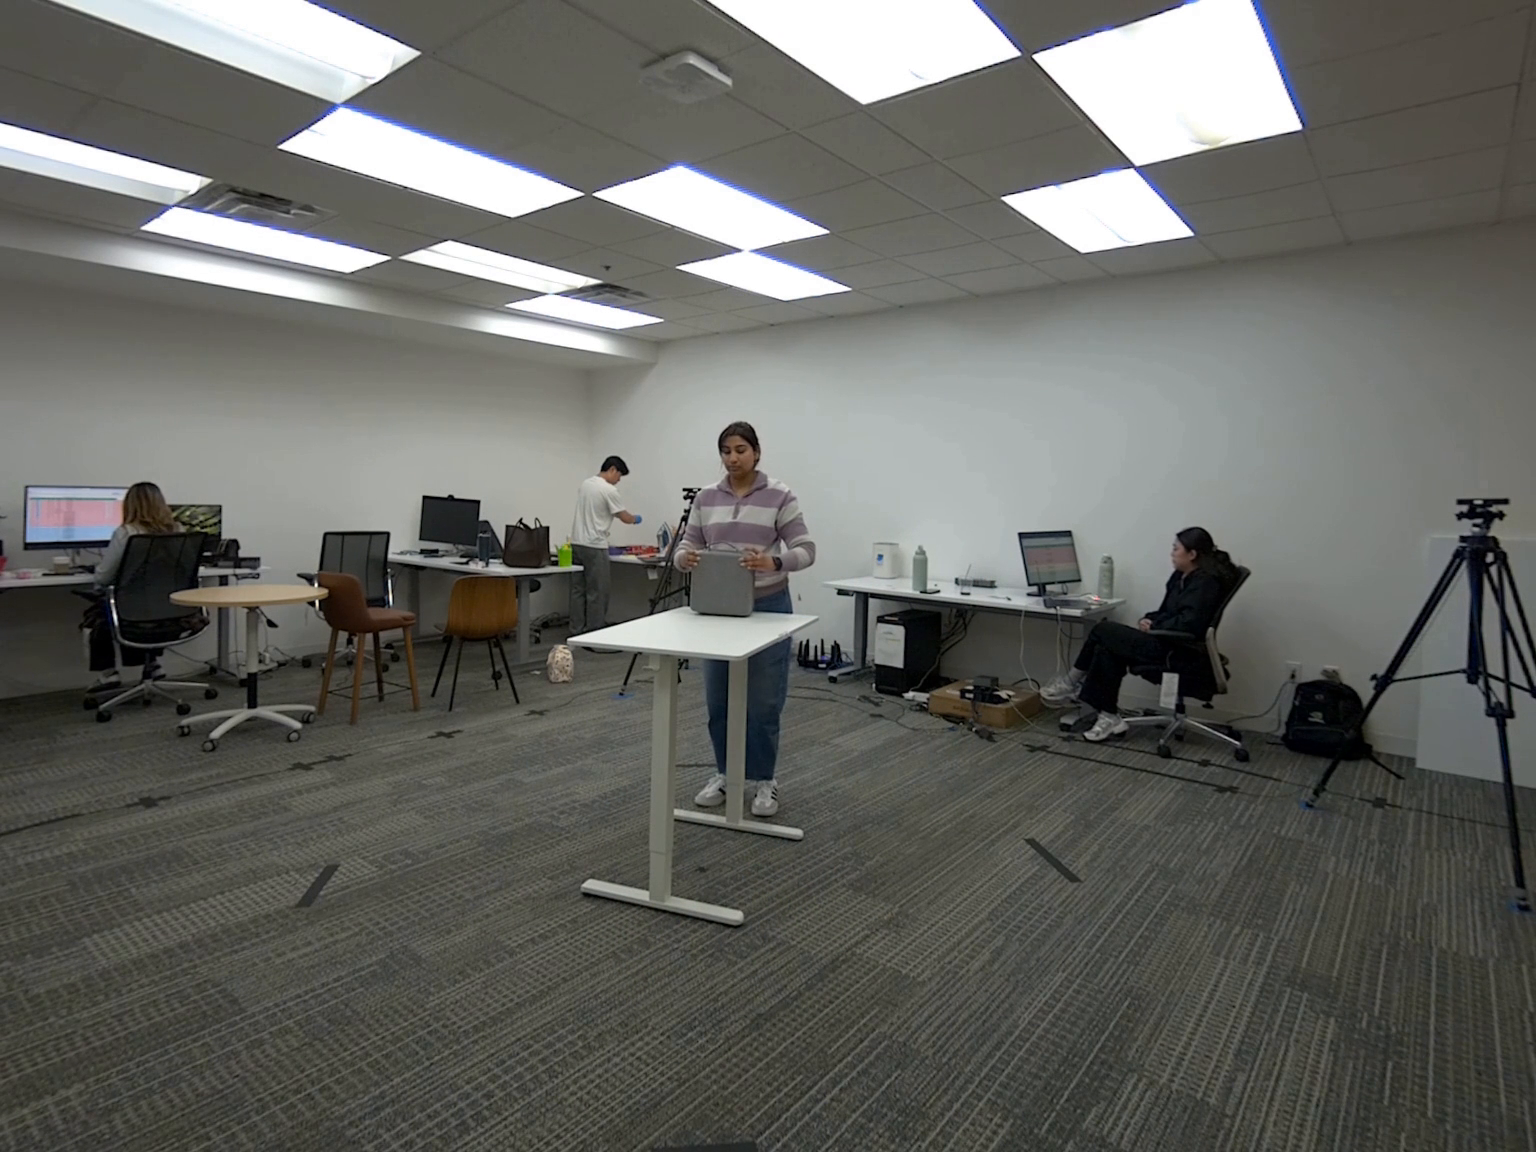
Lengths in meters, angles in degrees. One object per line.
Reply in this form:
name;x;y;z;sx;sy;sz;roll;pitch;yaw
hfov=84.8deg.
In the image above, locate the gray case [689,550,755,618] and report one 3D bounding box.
gray case;-0.195;0.019;3.446;0.260;0.259;0.103;6;5;10
